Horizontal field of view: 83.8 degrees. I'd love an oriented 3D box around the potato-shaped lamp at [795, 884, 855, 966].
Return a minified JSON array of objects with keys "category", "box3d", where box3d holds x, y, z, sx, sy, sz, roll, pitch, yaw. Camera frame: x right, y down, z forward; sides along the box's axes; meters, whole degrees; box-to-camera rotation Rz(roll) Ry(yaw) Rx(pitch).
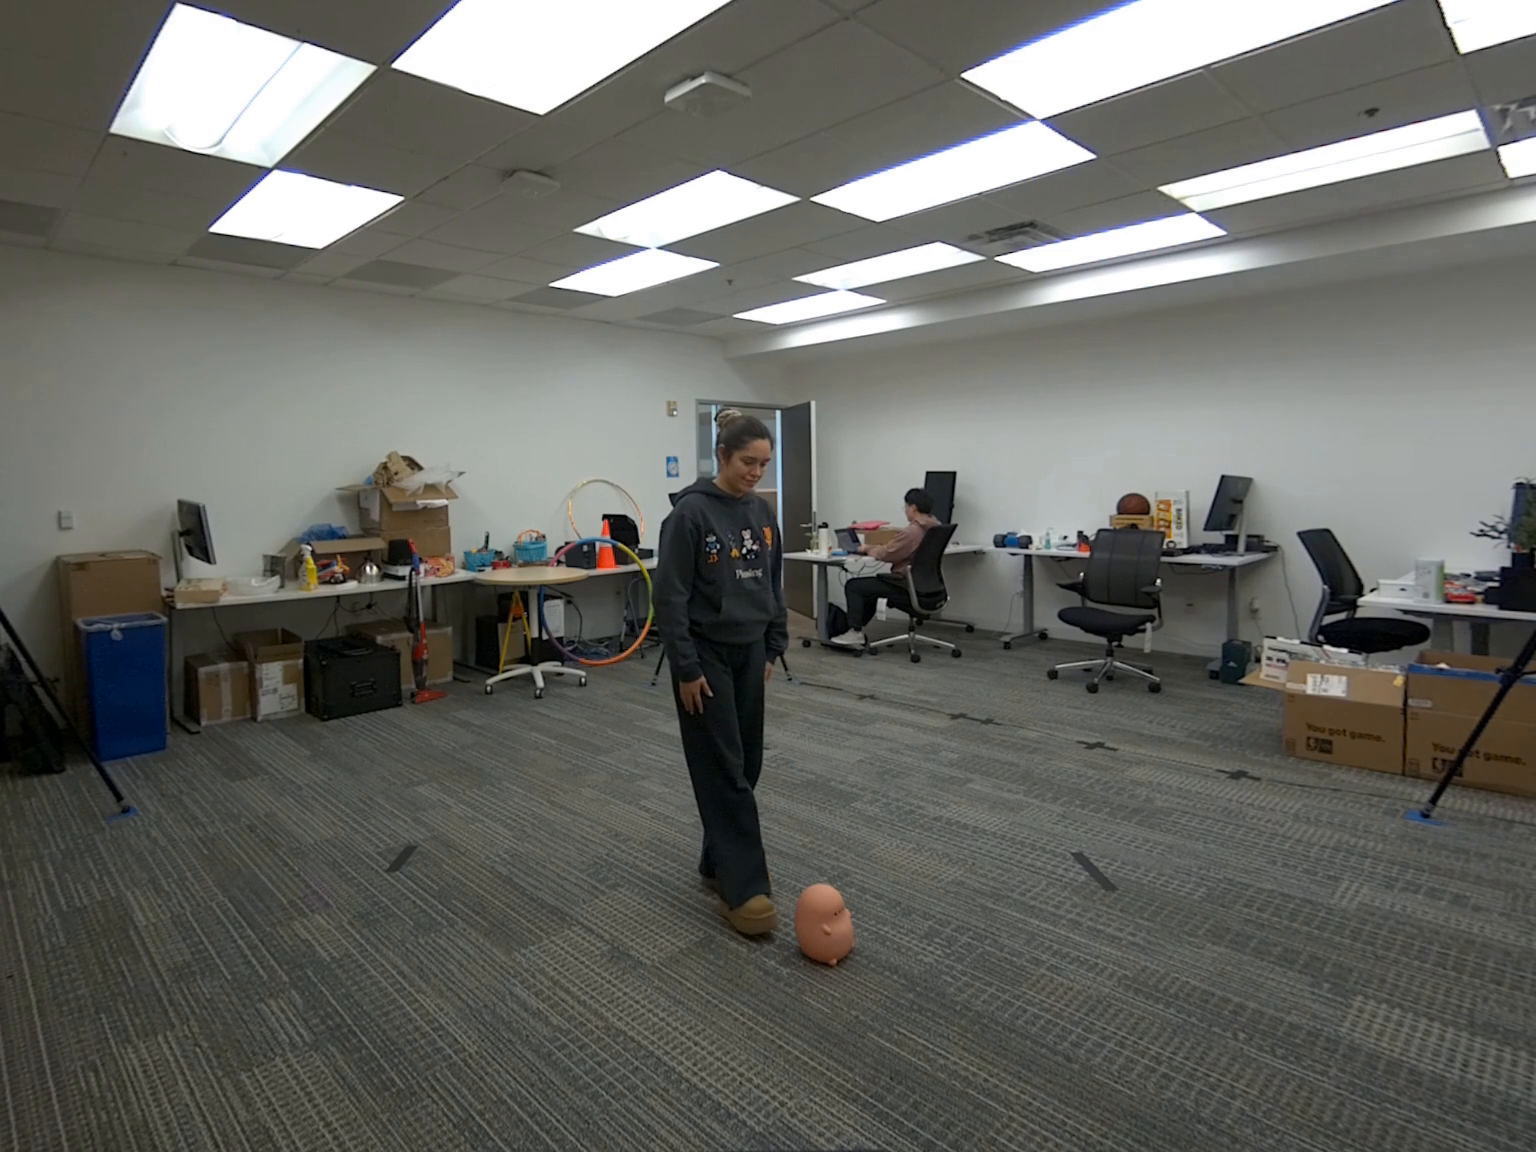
[{"category":"potato-shaped lamp","box3d":[0.168,1.011,2.500,0.176,0.197,0.161,5,8,37]}]
